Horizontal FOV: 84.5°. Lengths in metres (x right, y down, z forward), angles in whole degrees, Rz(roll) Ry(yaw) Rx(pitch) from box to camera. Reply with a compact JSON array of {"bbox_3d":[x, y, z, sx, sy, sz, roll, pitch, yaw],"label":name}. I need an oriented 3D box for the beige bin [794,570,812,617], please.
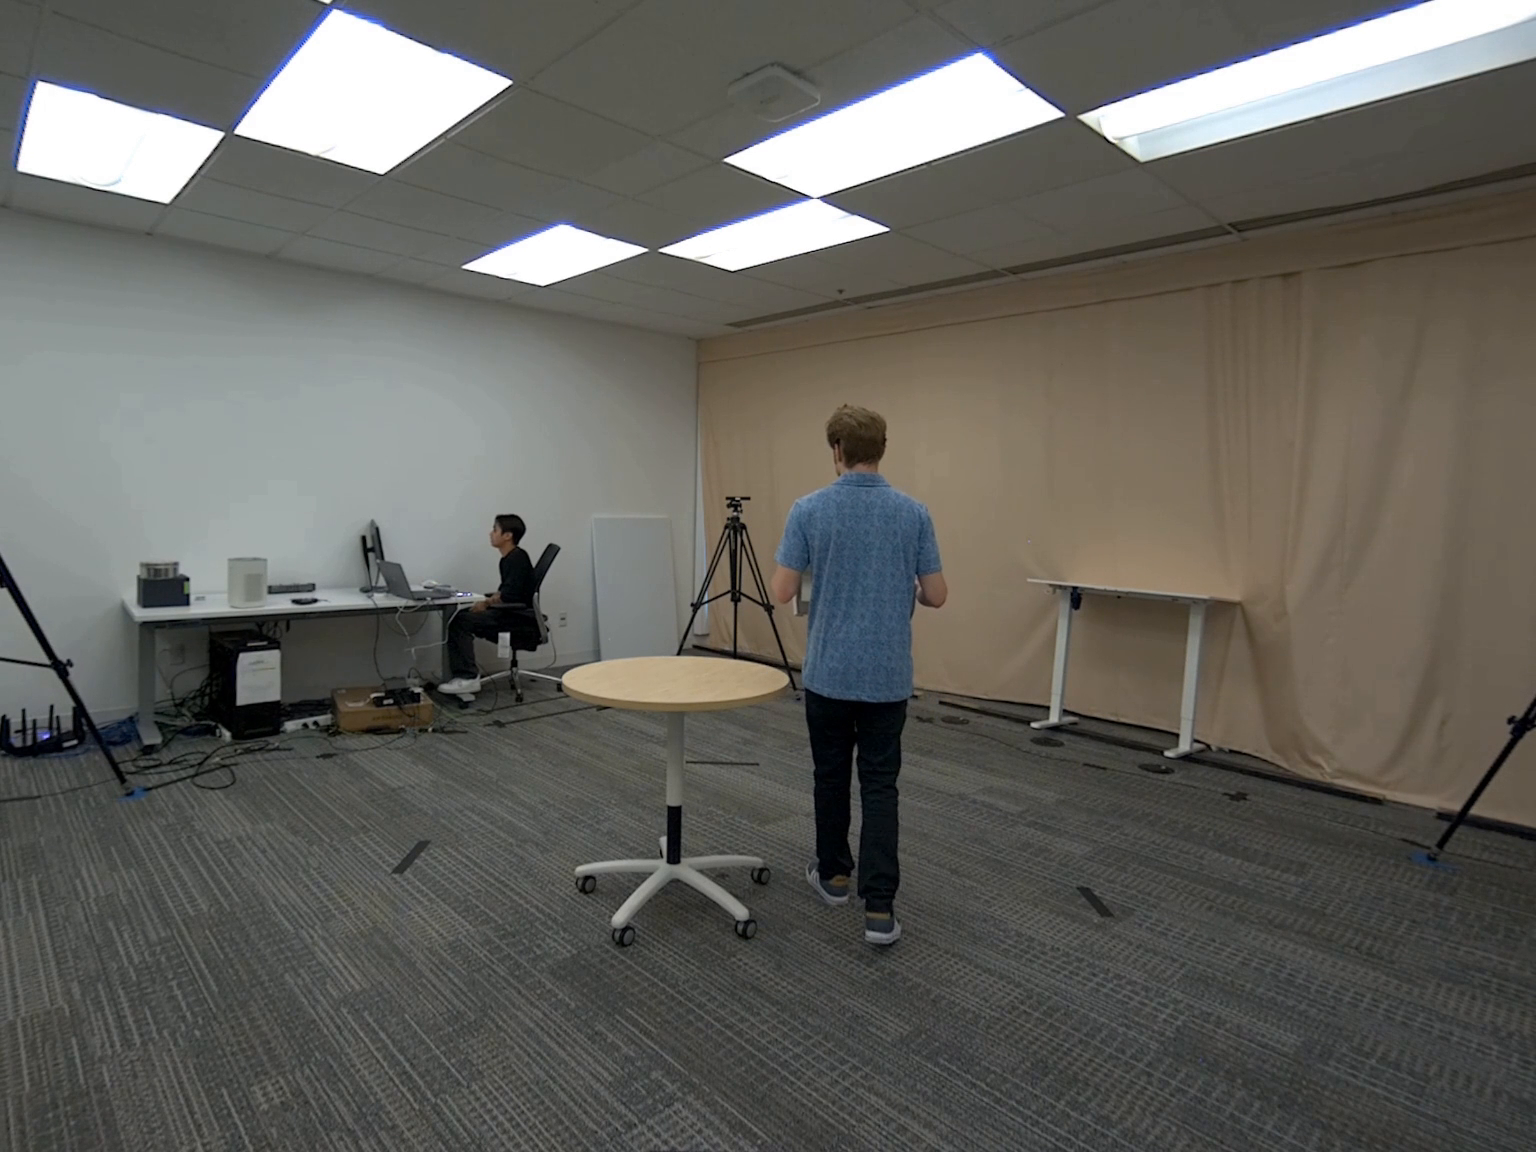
[{"bbox_3d":[0.302,0.029,3.117,0.422,0.186,0.383,4,25,-1],"label":"beige bin"}]
